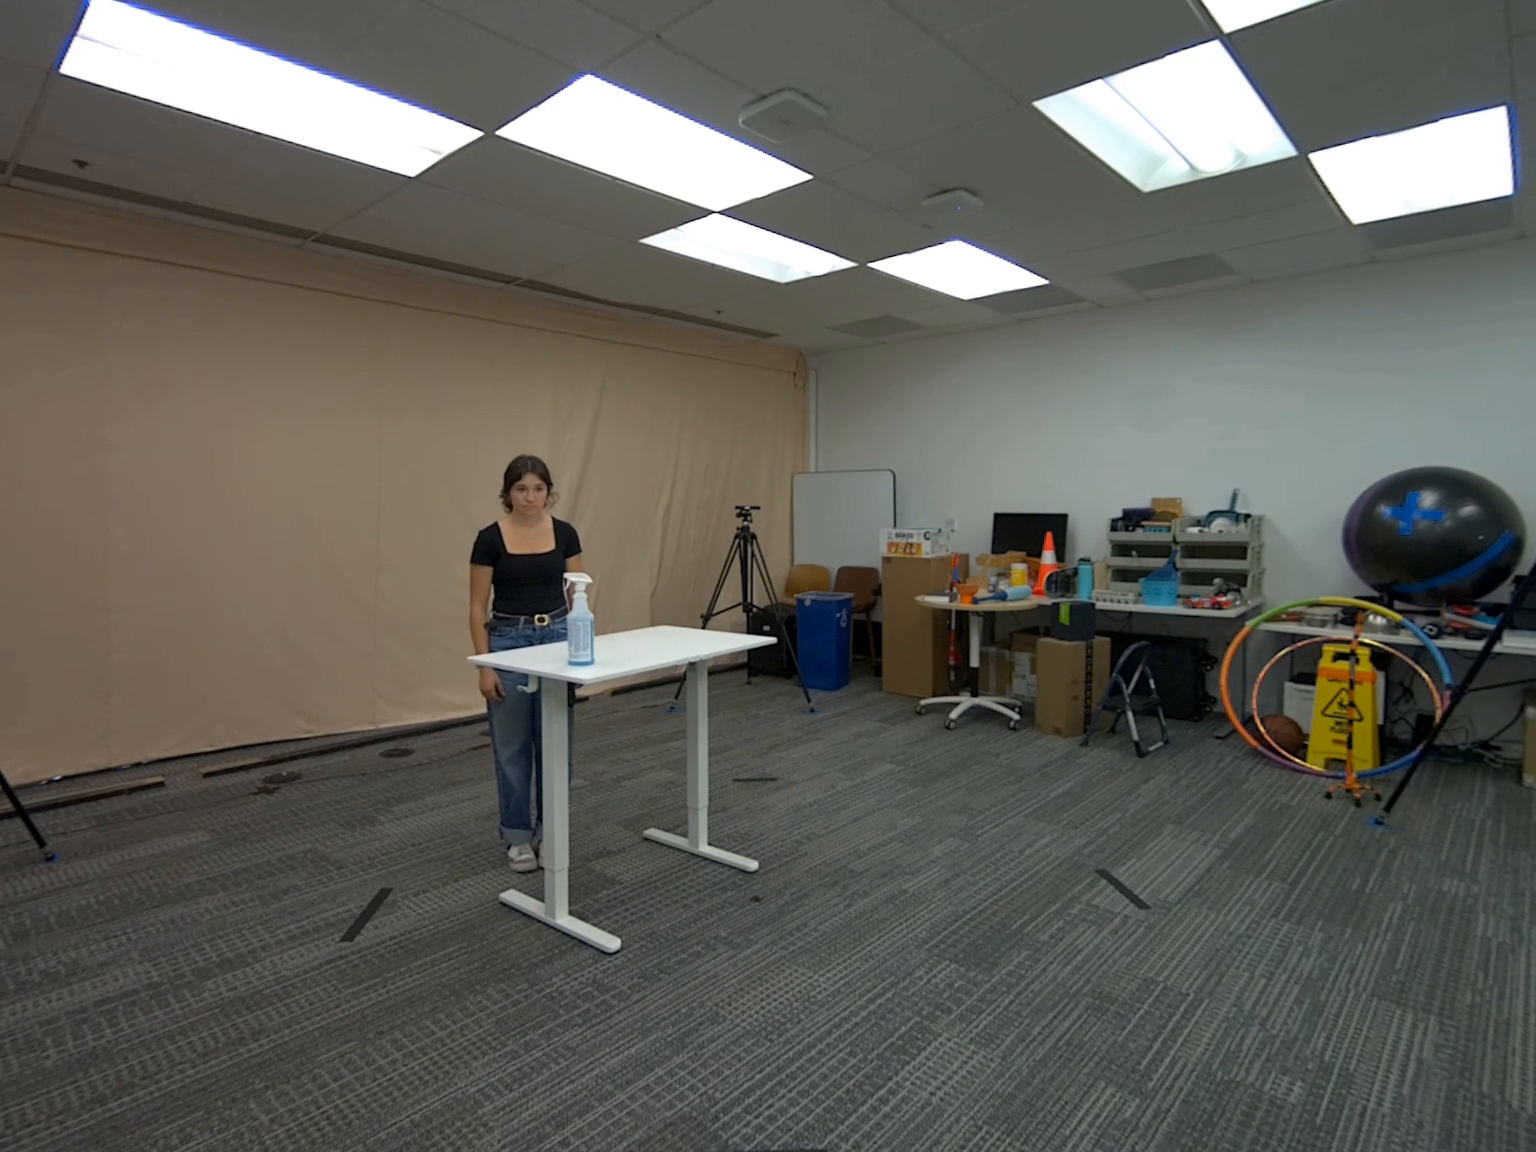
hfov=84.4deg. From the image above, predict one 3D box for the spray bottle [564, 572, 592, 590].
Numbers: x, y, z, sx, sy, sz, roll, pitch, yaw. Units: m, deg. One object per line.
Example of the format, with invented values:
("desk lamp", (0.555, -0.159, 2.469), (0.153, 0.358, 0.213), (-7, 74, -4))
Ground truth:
("spray bottle", (-0.609, 0.145, 2.712), (0.092, 0.296, 0.085), (0, 6, 20))
